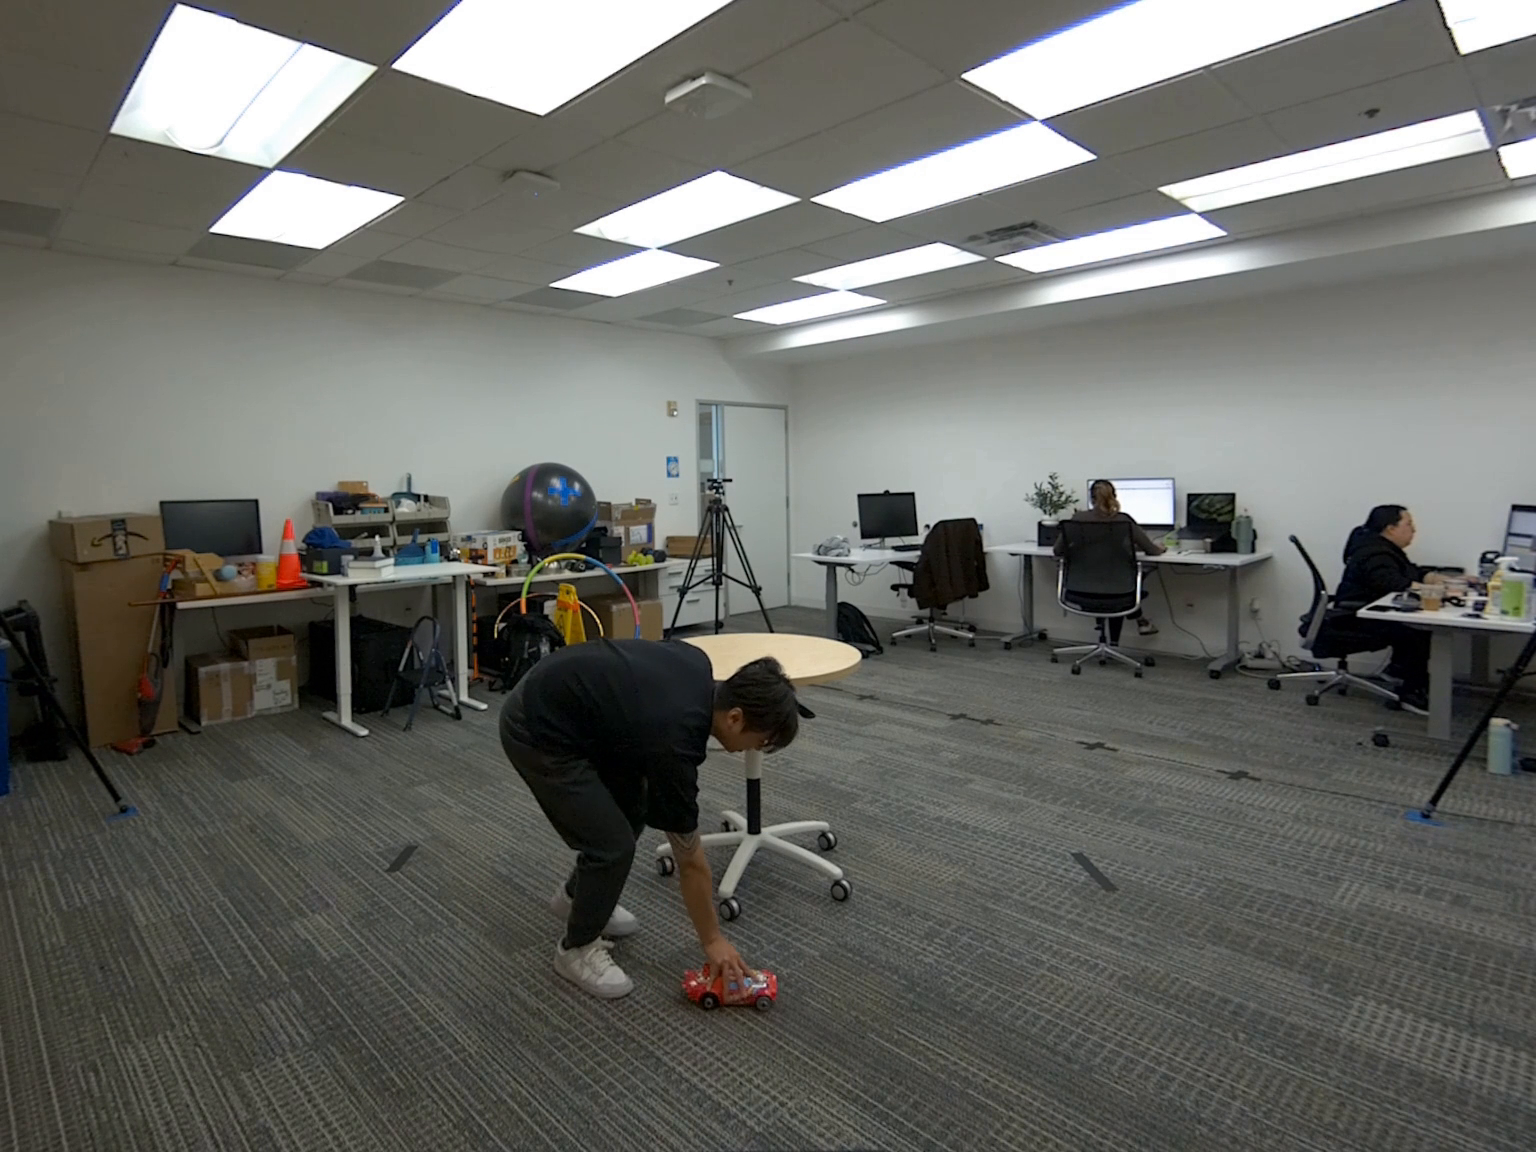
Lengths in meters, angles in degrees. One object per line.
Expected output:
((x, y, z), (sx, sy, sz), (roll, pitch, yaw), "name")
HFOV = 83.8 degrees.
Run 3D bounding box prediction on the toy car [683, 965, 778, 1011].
((-0.094, 1.110, 2.303), (0.255, 0.083, 0.130), (9, 4, 1), "toy car")
